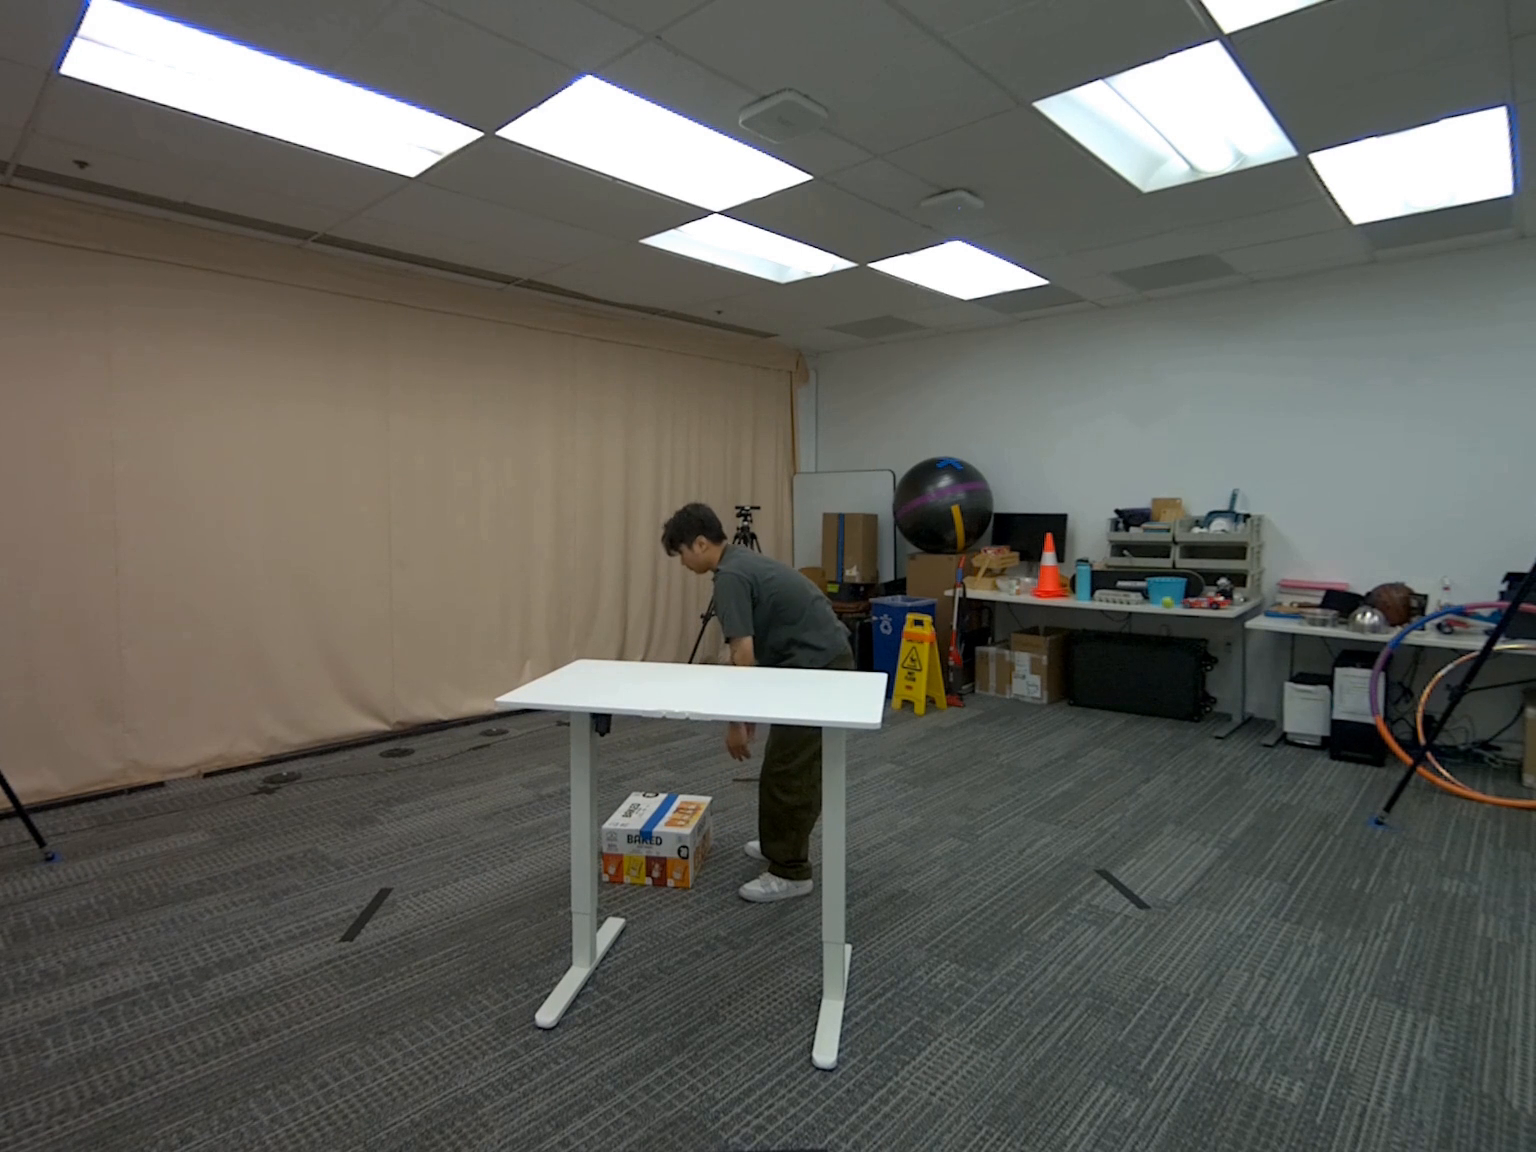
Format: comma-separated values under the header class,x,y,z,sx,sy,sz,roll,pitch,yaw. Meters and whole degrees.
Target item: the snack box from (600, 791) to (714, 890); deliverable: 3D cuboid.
class,x,y,z,sx,sy,sz,roll,pitch,yaw
snack box,-0.422,1.015,3.296,0.344,0.205,0.402,0,4,9
